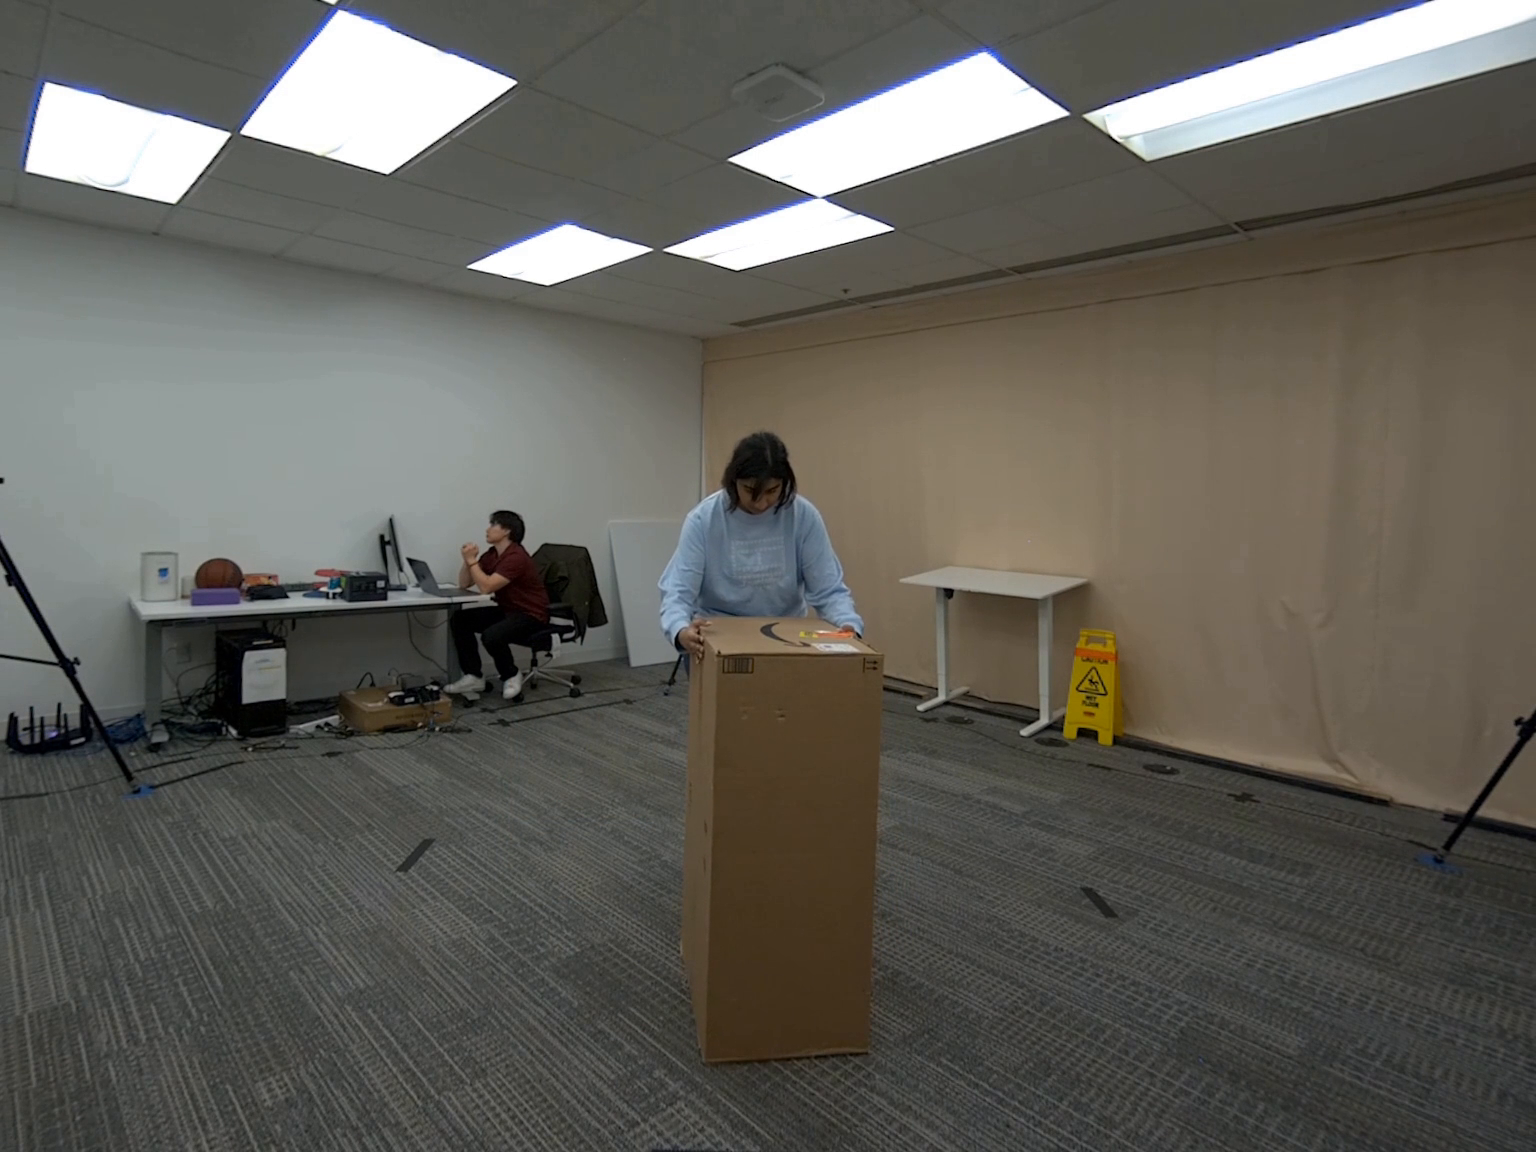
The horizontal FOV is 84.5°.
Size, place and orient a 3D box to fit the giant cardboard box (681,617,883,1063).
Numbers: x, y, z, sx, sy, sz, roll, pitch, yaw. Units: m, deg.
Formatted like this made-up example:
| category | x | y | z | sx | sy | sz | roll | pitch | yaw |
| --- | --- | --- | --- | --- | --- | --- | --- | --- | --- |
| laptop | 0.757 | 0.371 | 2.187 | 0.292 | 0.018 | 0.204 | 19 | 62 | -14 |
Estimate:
| category | x | y | z | sx | sy | sz | roll | pitch | yaw |
| --- | --- | --- | --- | --- | --- | --- | --- | --- | --- |
| giant cardboard box | 0.007 | 0.673 | 2.339 | 0.443 | 1.025 | 0.590 | 1 | 3 | -10 |
